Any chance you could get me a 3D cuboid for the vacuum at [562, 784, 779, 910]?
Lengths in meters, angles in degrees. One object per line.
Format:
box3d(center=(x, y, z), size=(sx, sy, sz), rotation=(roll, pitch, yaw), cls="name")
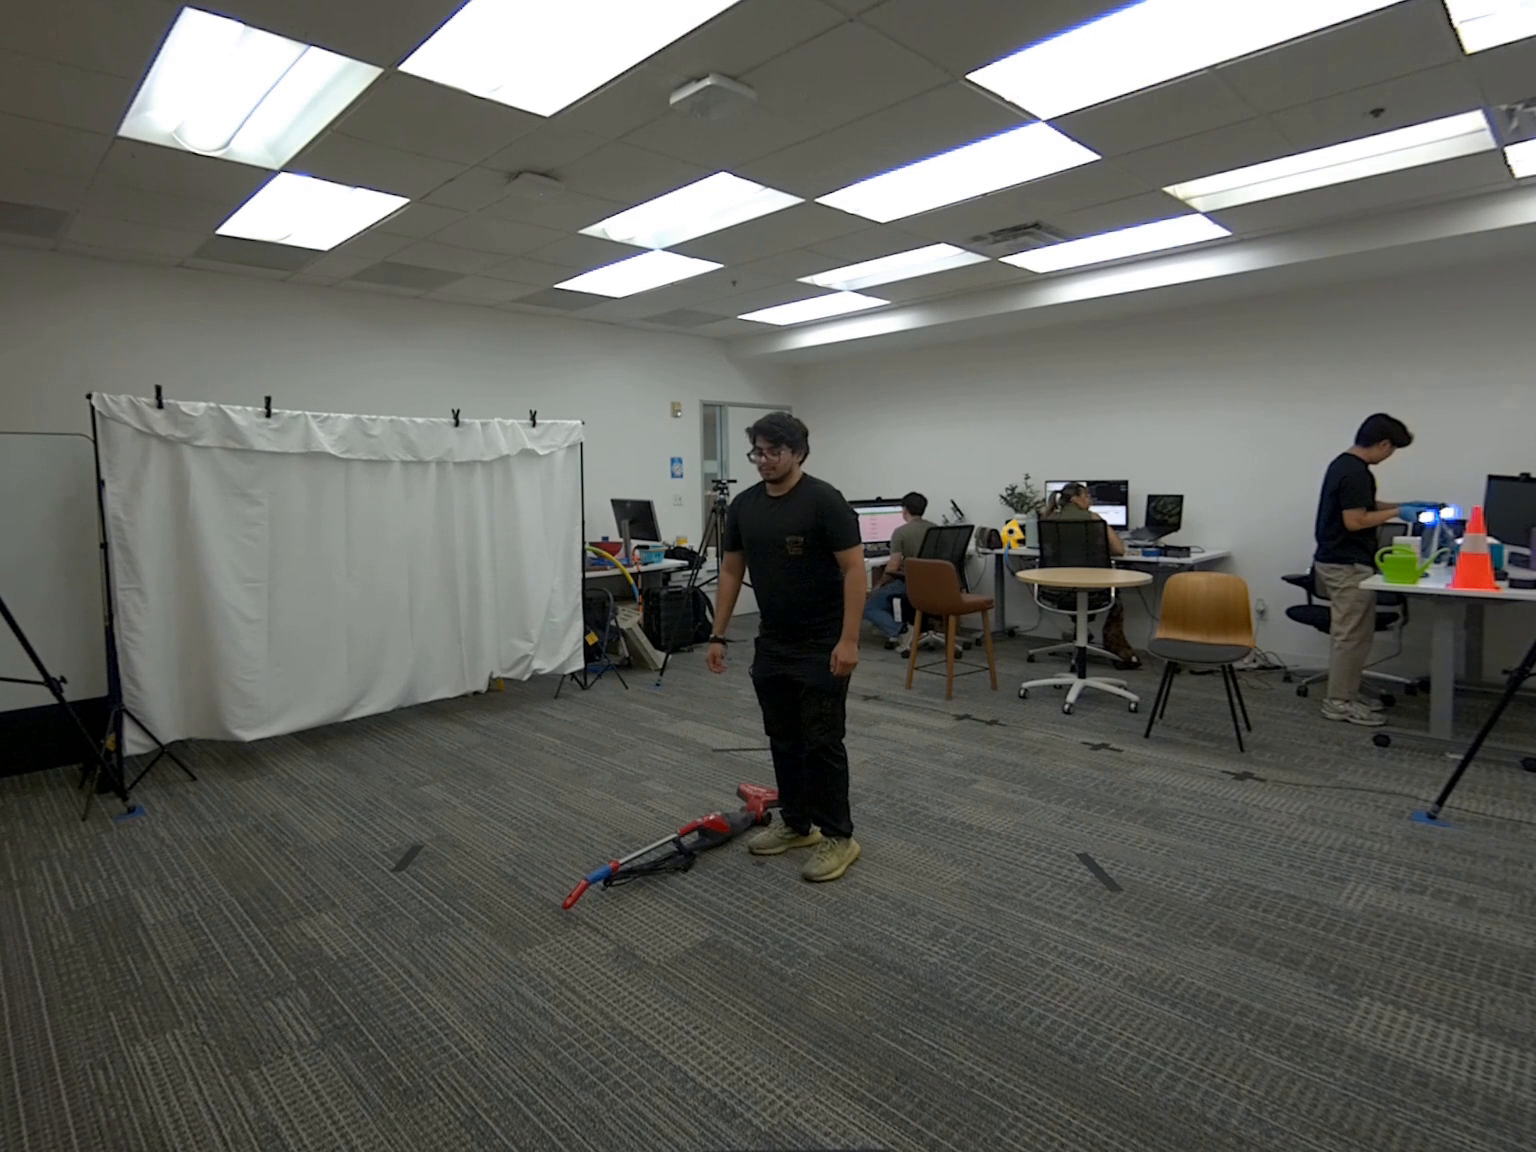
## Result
box3d(center=(-0.329, 0.992, 3.105), size=(0.260, 0.143, 1.024), rotation=(2, 7, 37), cls="vacuum")
